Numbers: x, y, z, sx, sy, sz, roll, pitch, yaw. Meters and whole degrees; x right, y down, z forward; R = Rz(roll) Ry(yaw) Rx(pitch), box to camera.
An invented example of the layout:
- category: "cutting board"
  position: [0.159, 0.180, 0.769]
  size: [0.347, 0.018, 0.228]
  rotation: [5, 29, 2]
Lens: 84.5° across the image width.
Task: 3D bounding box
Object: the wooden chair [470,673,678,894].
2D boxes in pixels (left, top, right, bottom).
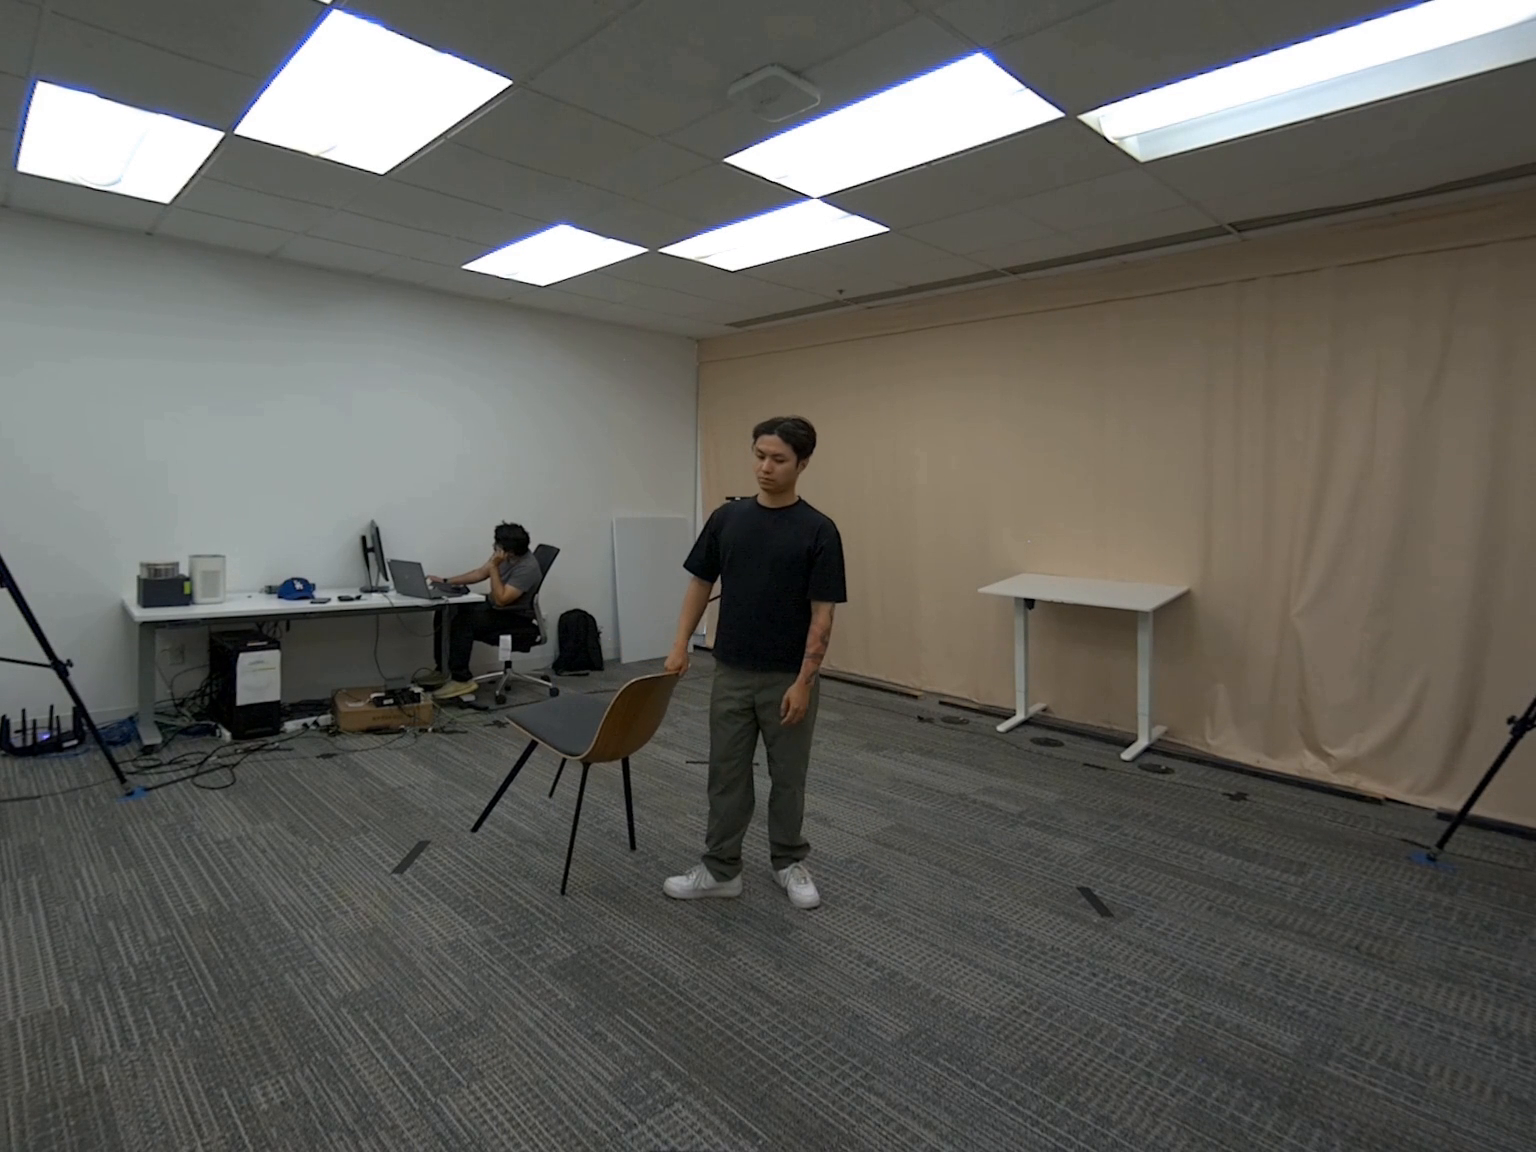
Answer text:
- category: "wooden chair"
  position: [-0.691, 0.616, 3.125]
  size: [0.535, 0.873, 0.469]
  rotation: [27, 14, 24]
